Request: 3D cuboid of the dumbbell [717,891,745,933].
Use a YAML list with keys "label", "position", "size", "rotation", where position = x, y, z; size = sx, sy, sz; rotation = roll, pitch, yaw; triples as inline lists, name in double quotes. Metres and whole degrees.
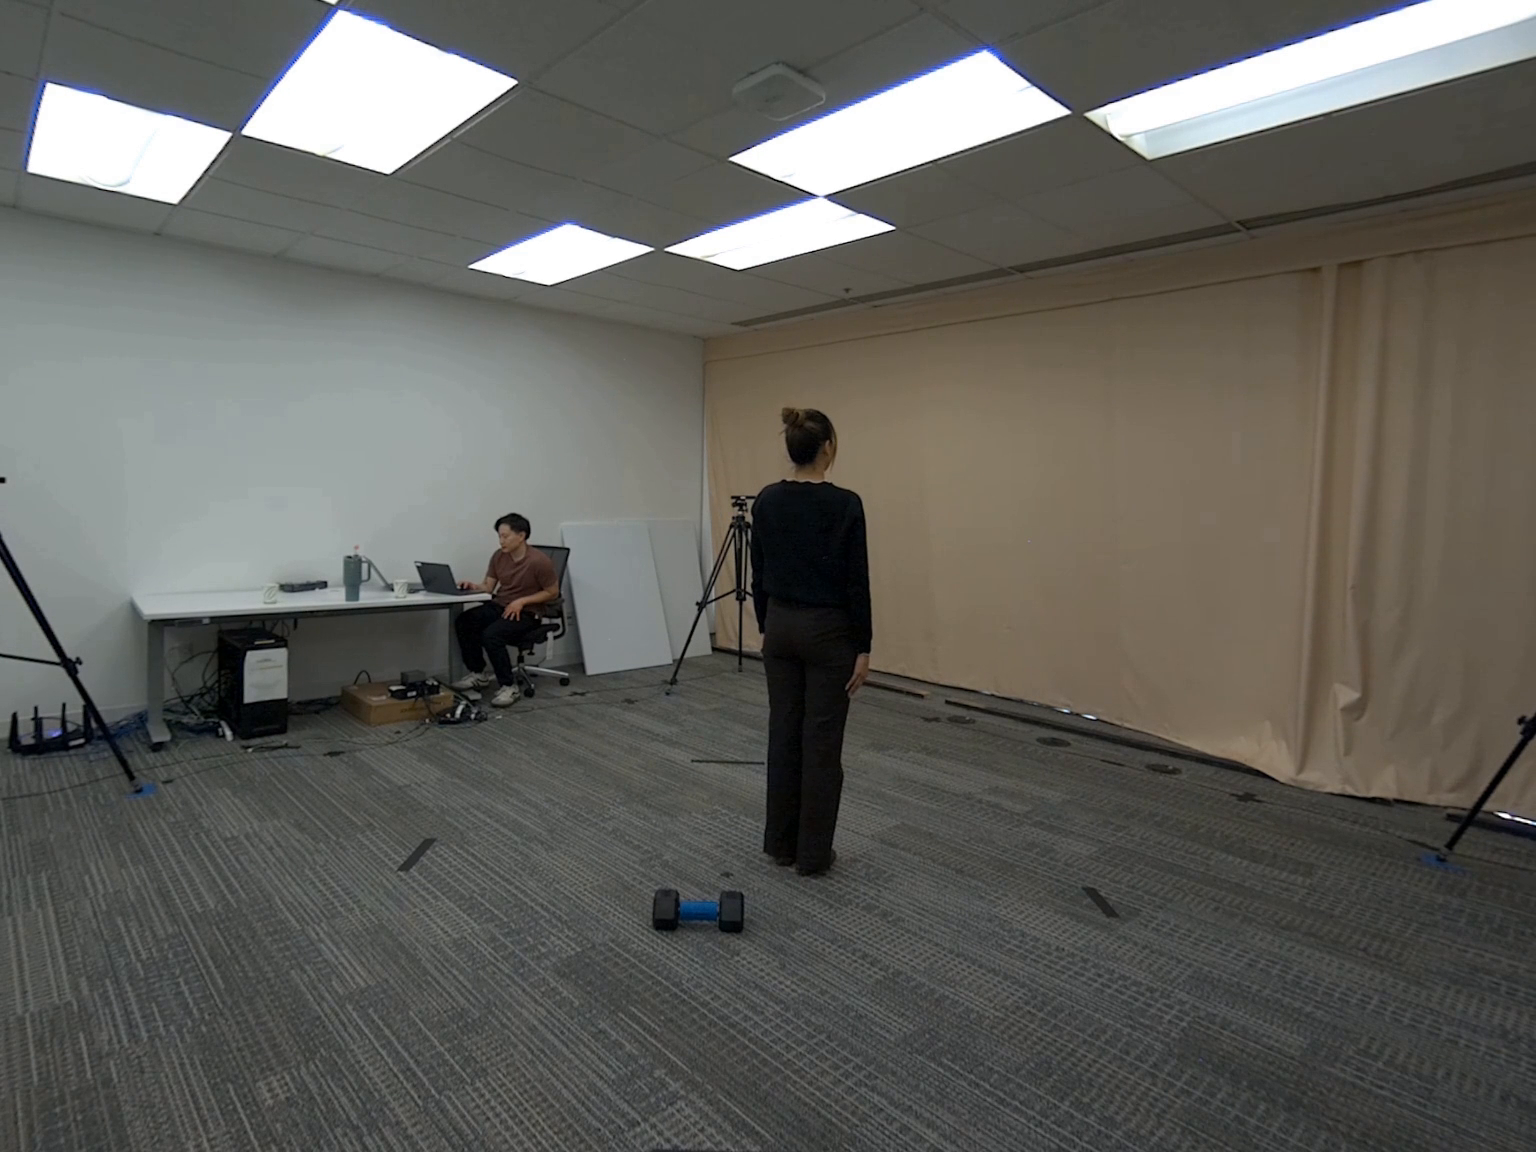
- label: "dumbbell"
  position: [-0.227, 1.084, 2.716]
  size: [0.294, 0.120, 0.111]
  rotation: [1, 32, 1]
